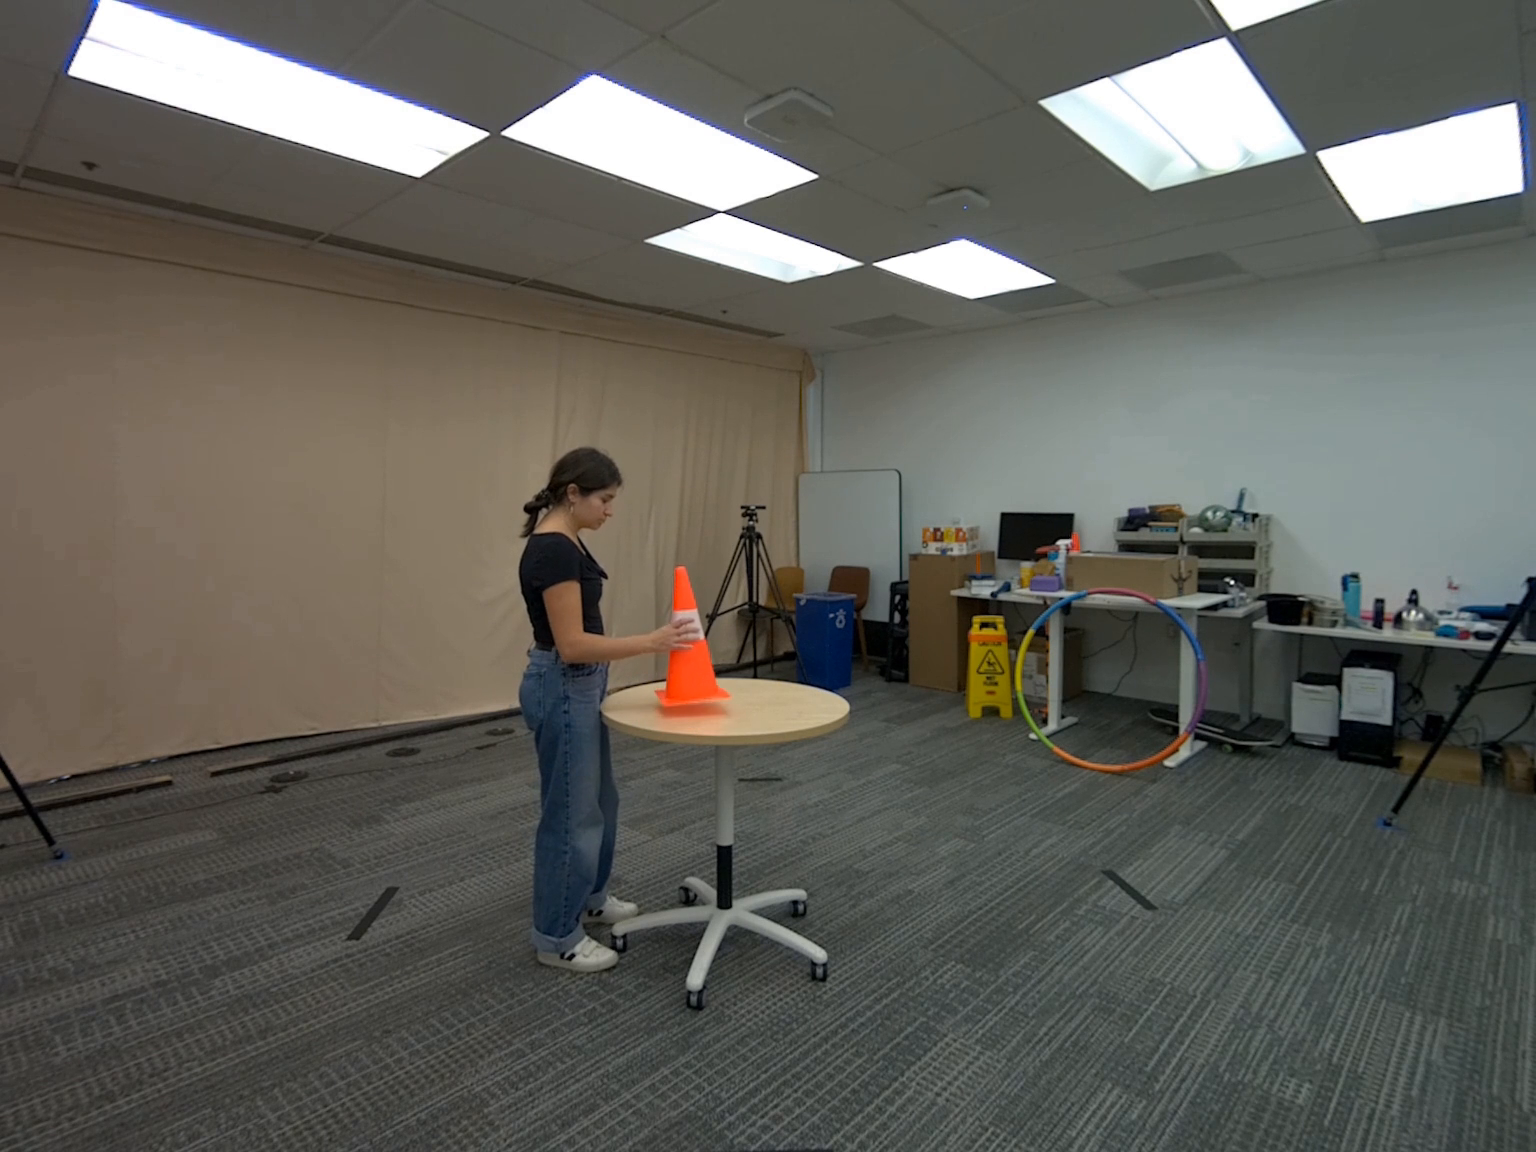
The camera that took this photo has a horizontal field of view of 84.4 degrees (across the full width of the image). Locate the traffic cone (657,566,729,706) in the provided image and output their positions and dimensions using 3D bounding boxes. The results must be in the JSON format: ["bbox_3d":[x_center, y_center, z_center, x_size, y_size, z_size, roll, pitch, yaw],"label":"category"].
[{"bbox_3d":[-0.242,0.169,2.485,0.201,0.383,0.207,-4,0,-18],"label":"traffic cone"}]
